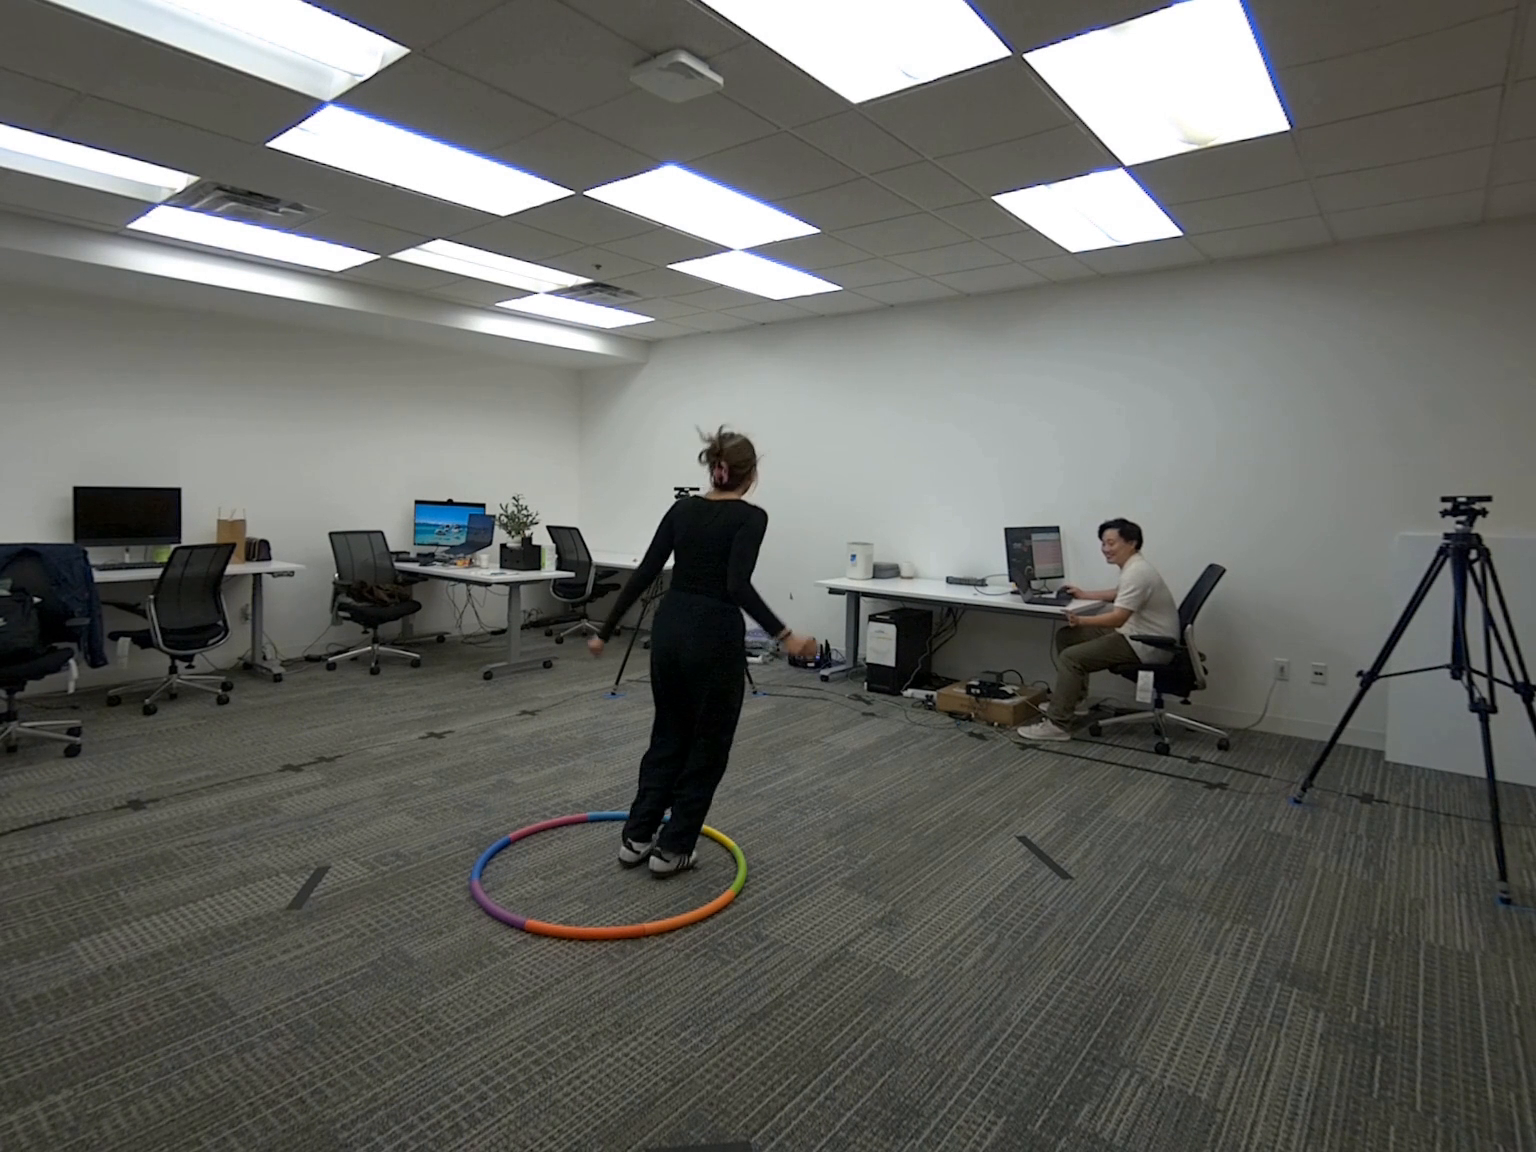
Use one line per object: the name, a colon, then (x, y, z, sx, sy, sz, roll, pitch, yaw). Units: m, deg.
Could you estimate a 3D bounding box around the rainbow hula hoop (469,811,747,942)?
rainbow hula hoop: (-0.574, 1.035, 3.084, 0.978, 0.035, 0.984, 1, 6, -2)
